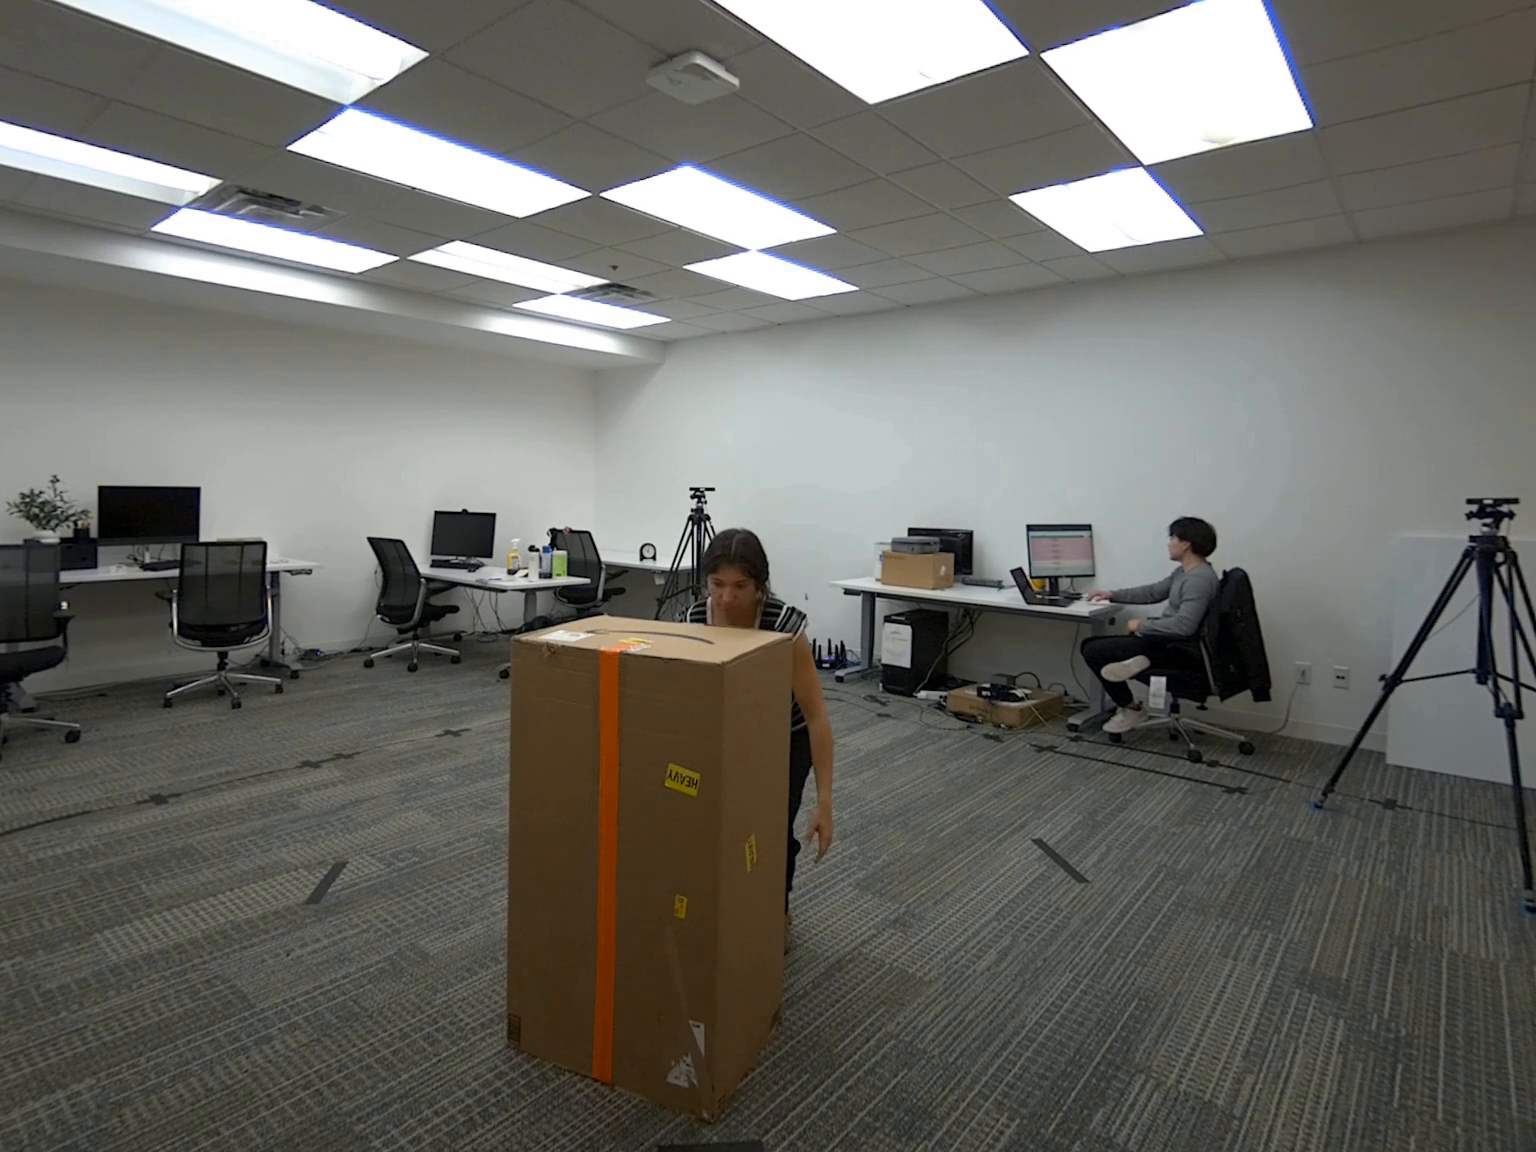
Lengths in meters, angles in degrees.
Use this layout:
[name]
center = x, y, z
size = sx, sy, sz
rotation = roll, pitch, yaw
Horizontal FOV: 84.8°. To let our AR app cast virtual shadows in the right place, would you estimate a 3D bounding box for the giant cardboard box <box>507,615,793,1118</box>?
[giant cardboard box]
center = -0.303, 0.651, 2.140
size = 0.592, 1.023, 0.417
rotation = 3, 4, 24
